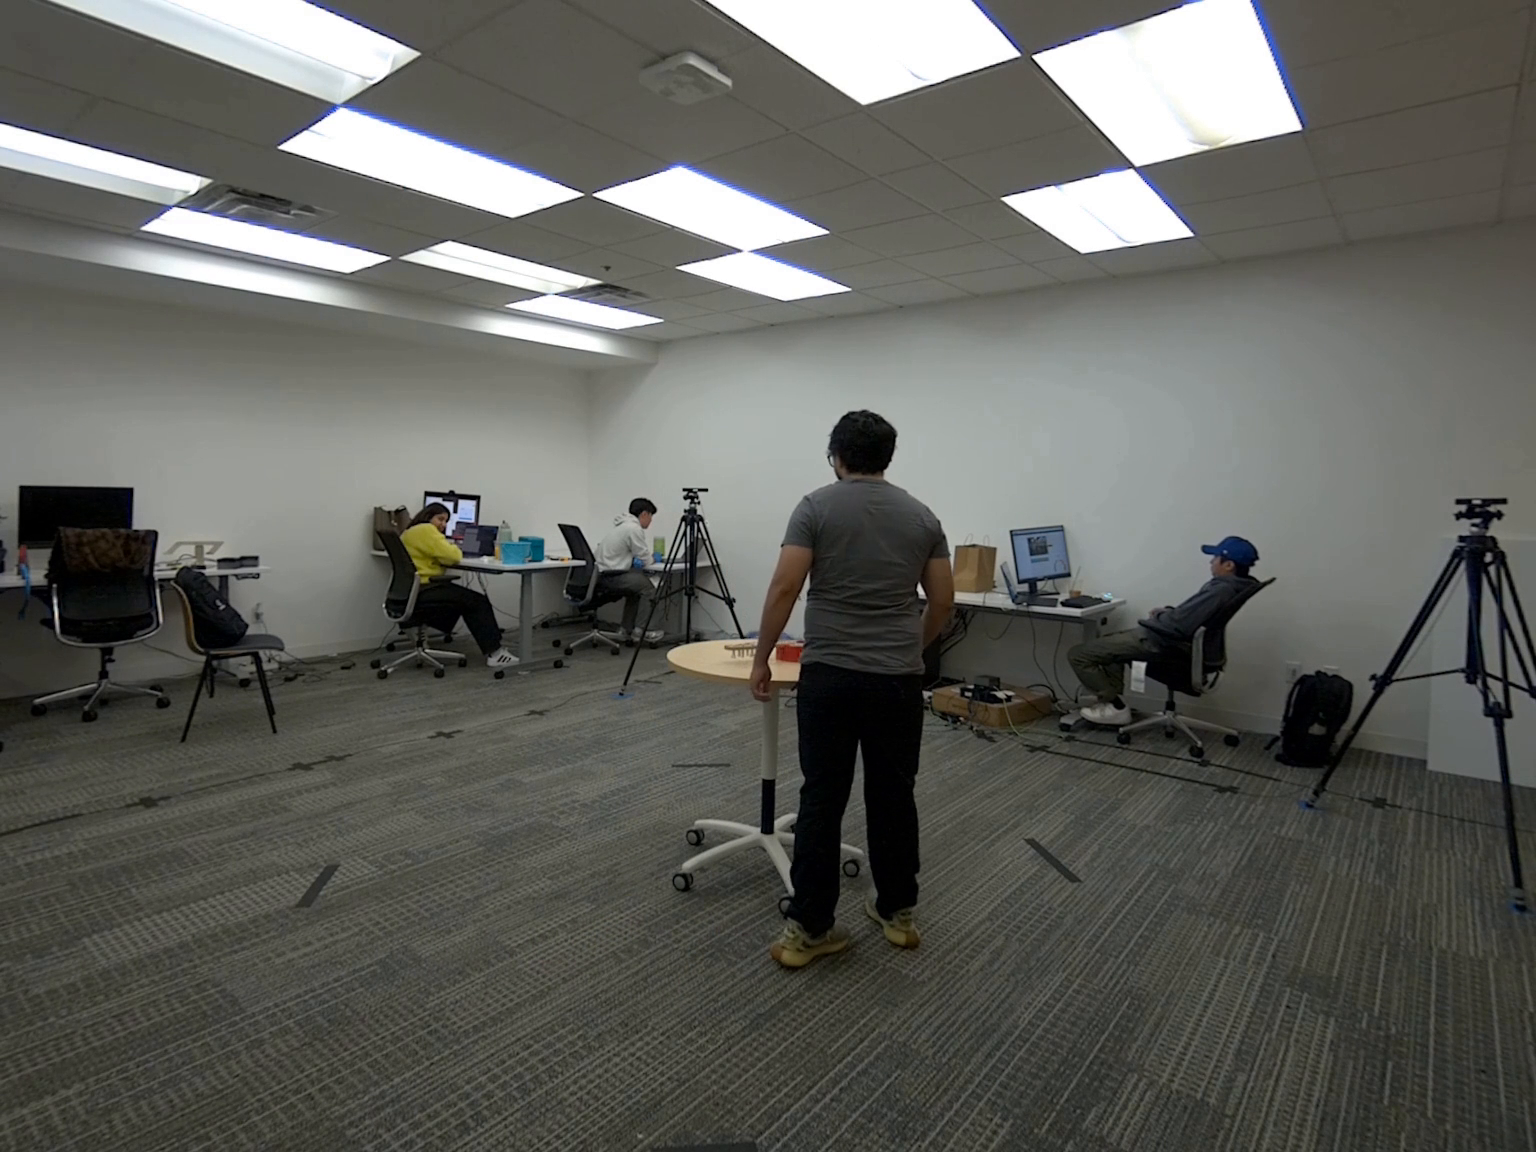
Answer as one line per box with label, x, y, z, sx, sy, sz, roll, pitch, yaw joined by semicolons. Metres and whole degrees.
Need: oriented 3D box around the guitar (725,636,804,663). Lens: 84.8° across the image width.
guitar;0.047;0.262;3.075;0.487;0.070;0.198;1;6;-21
